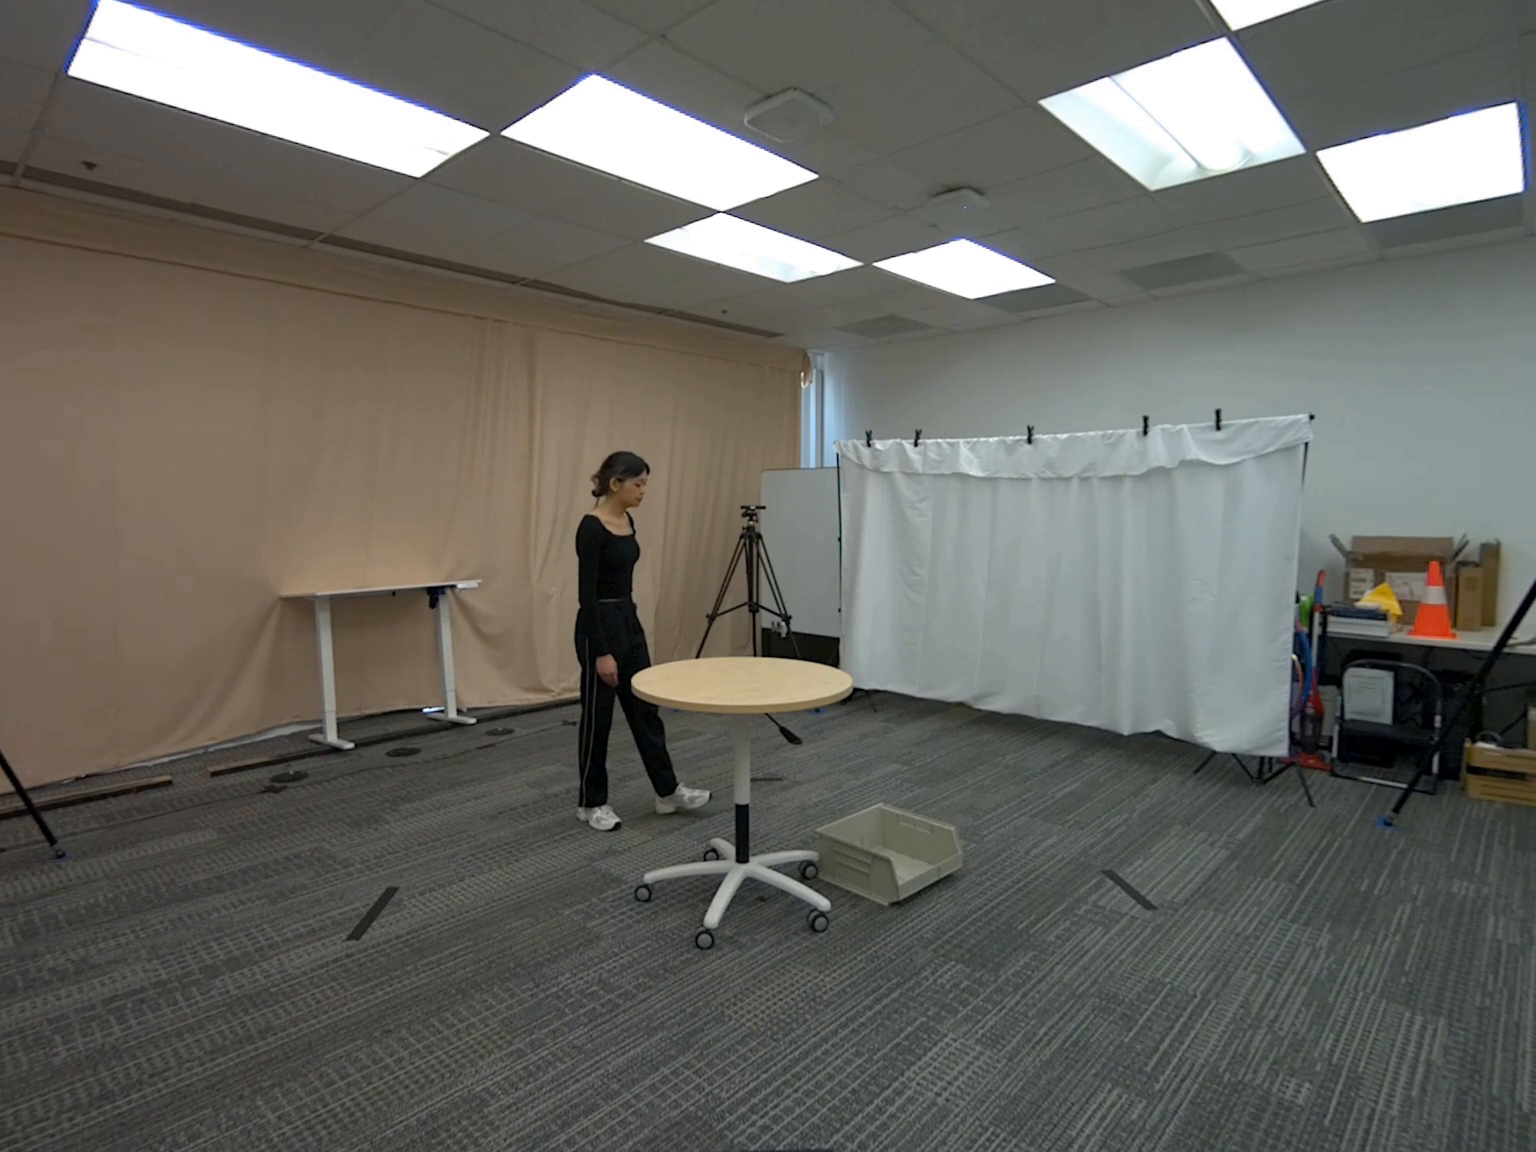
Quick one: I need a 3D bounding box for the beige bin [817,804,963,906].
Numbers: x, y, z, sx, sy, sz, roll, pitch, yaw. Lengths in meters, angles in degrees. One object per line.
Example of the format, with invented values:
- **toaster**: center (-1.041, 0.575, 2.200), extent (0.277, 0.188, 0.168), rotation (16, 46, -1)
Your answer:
- **beige bin**: center (0.460, 1.042, 3.156), extent (0.390, 0.188, 0.409), rotation (3, 6, 45)
